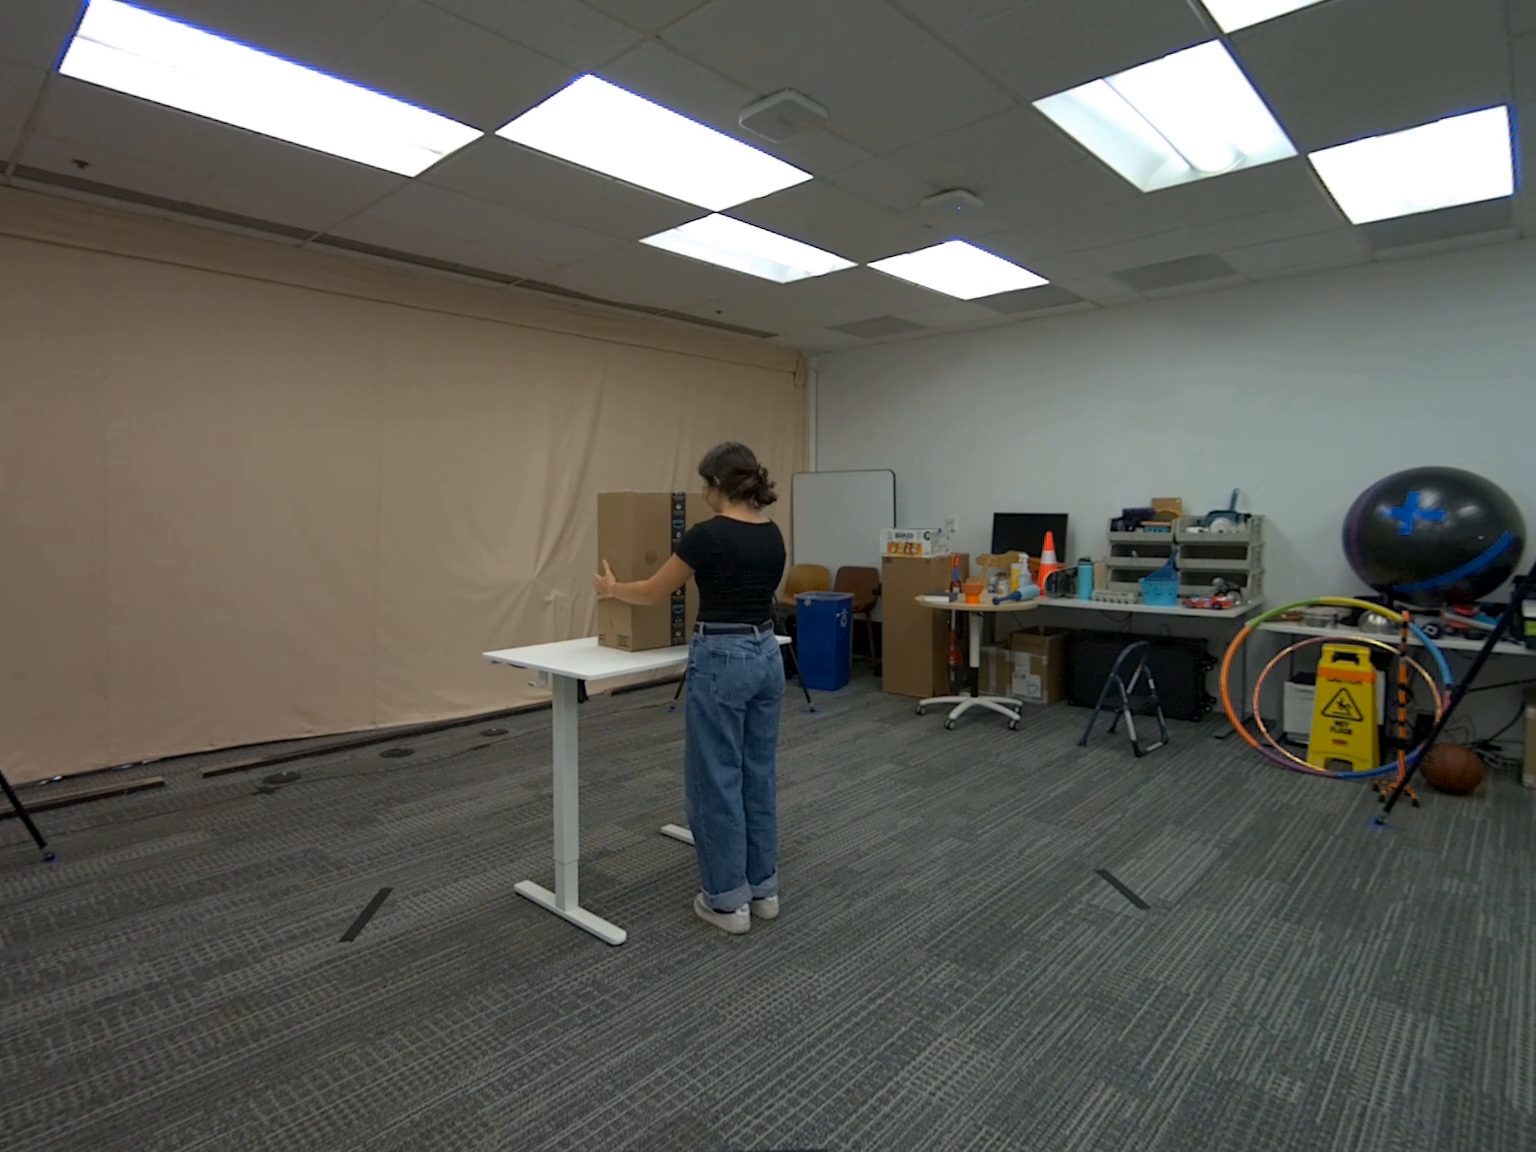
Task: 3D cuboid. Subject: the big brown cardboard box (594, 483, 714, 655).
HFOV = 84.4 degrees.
[{"bbox_3d":[-0.407,-0.038,3.153,0.404,0.588,0.241,-1,2,-42],"label":"big brown cardboard box"}]
